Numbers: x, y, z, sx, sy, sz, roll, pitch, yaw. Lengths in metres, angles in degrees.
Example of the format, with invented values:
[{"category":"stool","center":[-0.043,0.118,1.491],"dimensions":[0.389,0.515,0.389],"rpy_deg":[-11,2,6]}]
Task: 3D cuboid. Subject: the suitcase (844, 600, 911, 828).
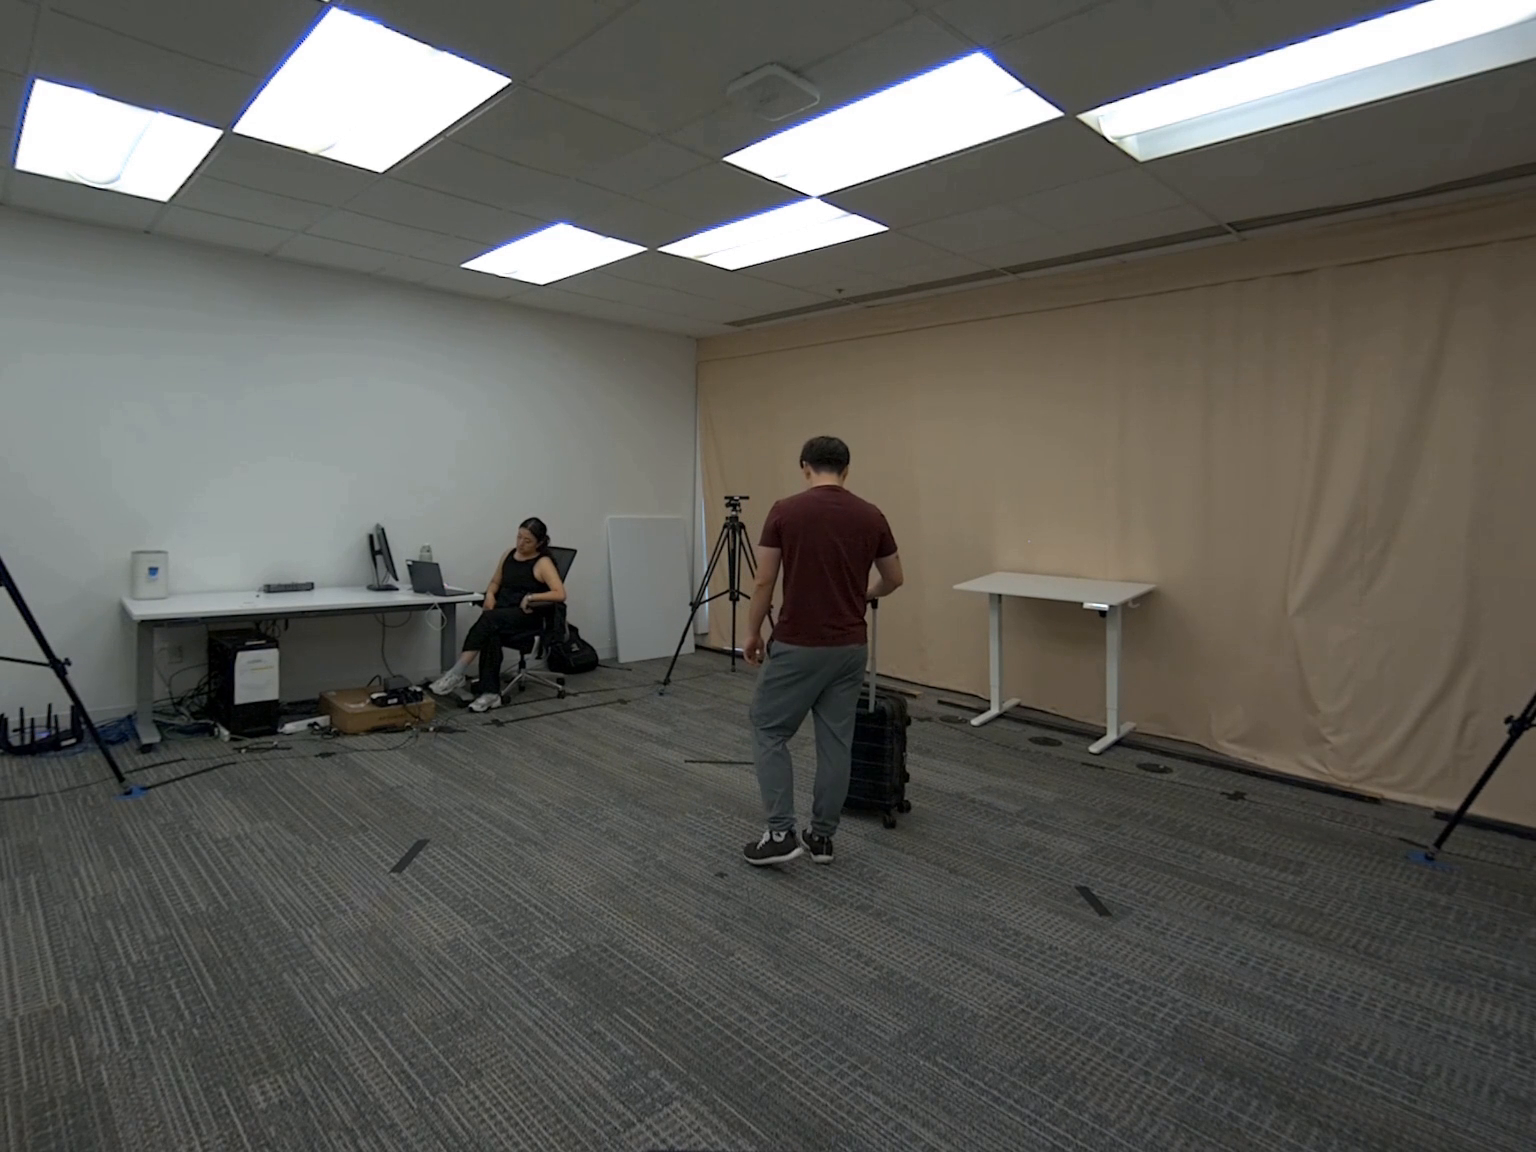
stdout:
[{"category":"suitcase","center":[0.429,0.579,3.772],"dimensions":[0.391,0.978,0.252],"rpy_deg":[2,1,26]}]
